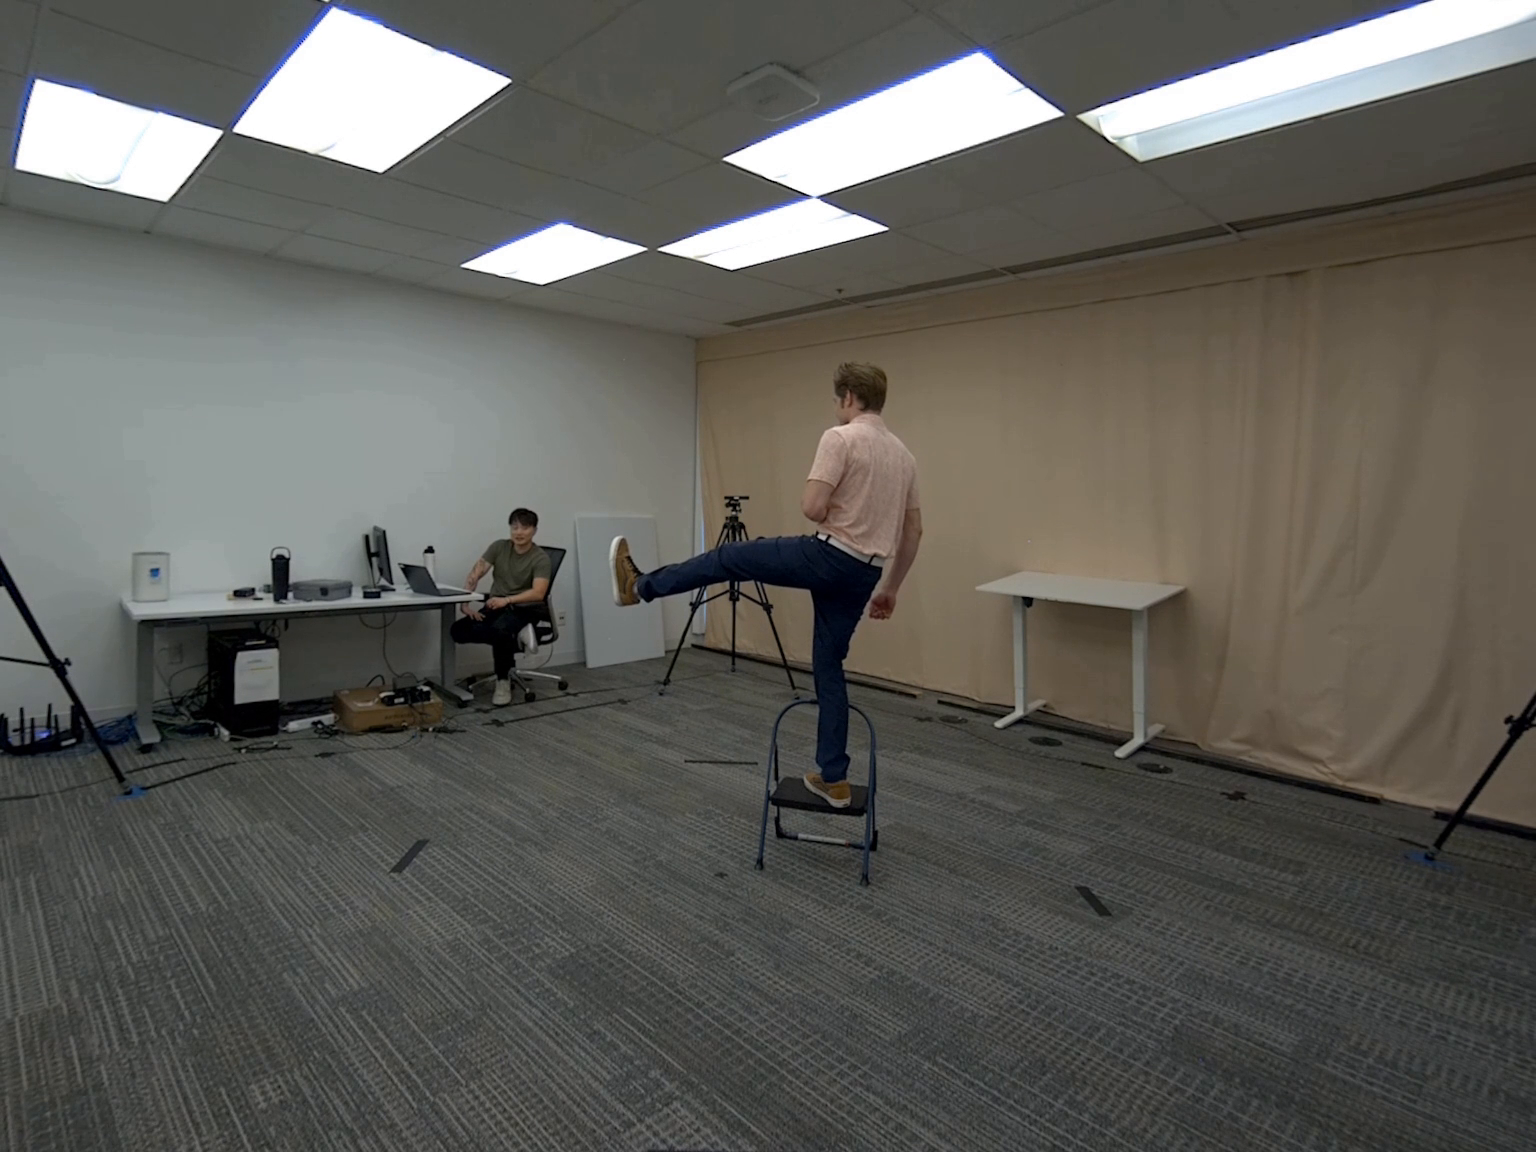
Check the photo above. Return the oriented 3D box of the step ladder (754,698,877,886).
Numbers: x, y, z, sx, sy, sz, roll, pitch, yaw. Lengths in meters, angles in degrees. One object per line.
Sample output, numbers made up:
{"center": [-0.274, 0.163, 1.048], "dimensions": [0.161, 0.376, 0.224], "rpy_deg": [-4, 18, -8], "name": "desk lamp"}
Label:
{"center": [0.200, 0.800, 3.251], "dimensions": [0.436, 0.605, 0.346], "rpy_deg": [3, 3, 15], "name": "step ladder"}
